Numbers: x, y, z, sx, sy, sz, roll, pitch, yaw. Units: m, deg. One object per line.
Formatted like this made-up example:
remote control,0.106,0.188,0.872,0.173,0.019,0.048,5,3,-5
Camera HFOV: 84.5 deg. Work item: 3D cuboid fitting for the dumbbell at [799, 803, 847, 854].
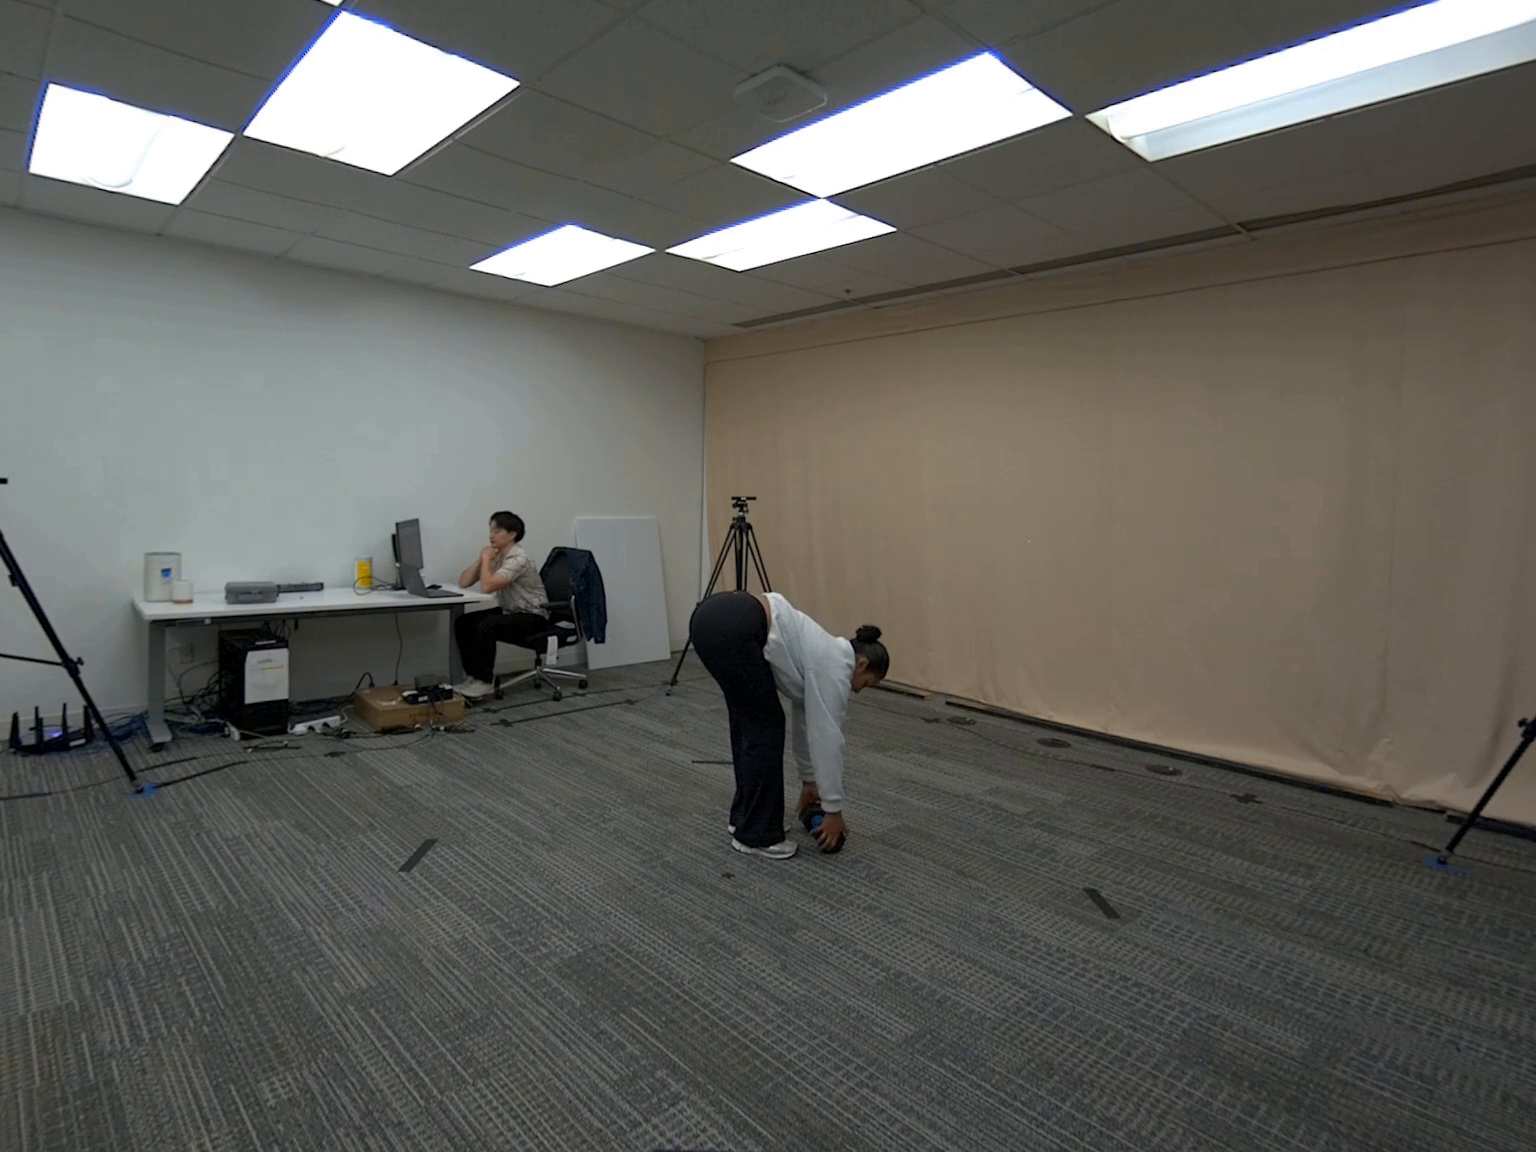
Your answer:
dumbbell,0.204,1.029,3.456,0.108,0.122,0.297,-30,10,-9
